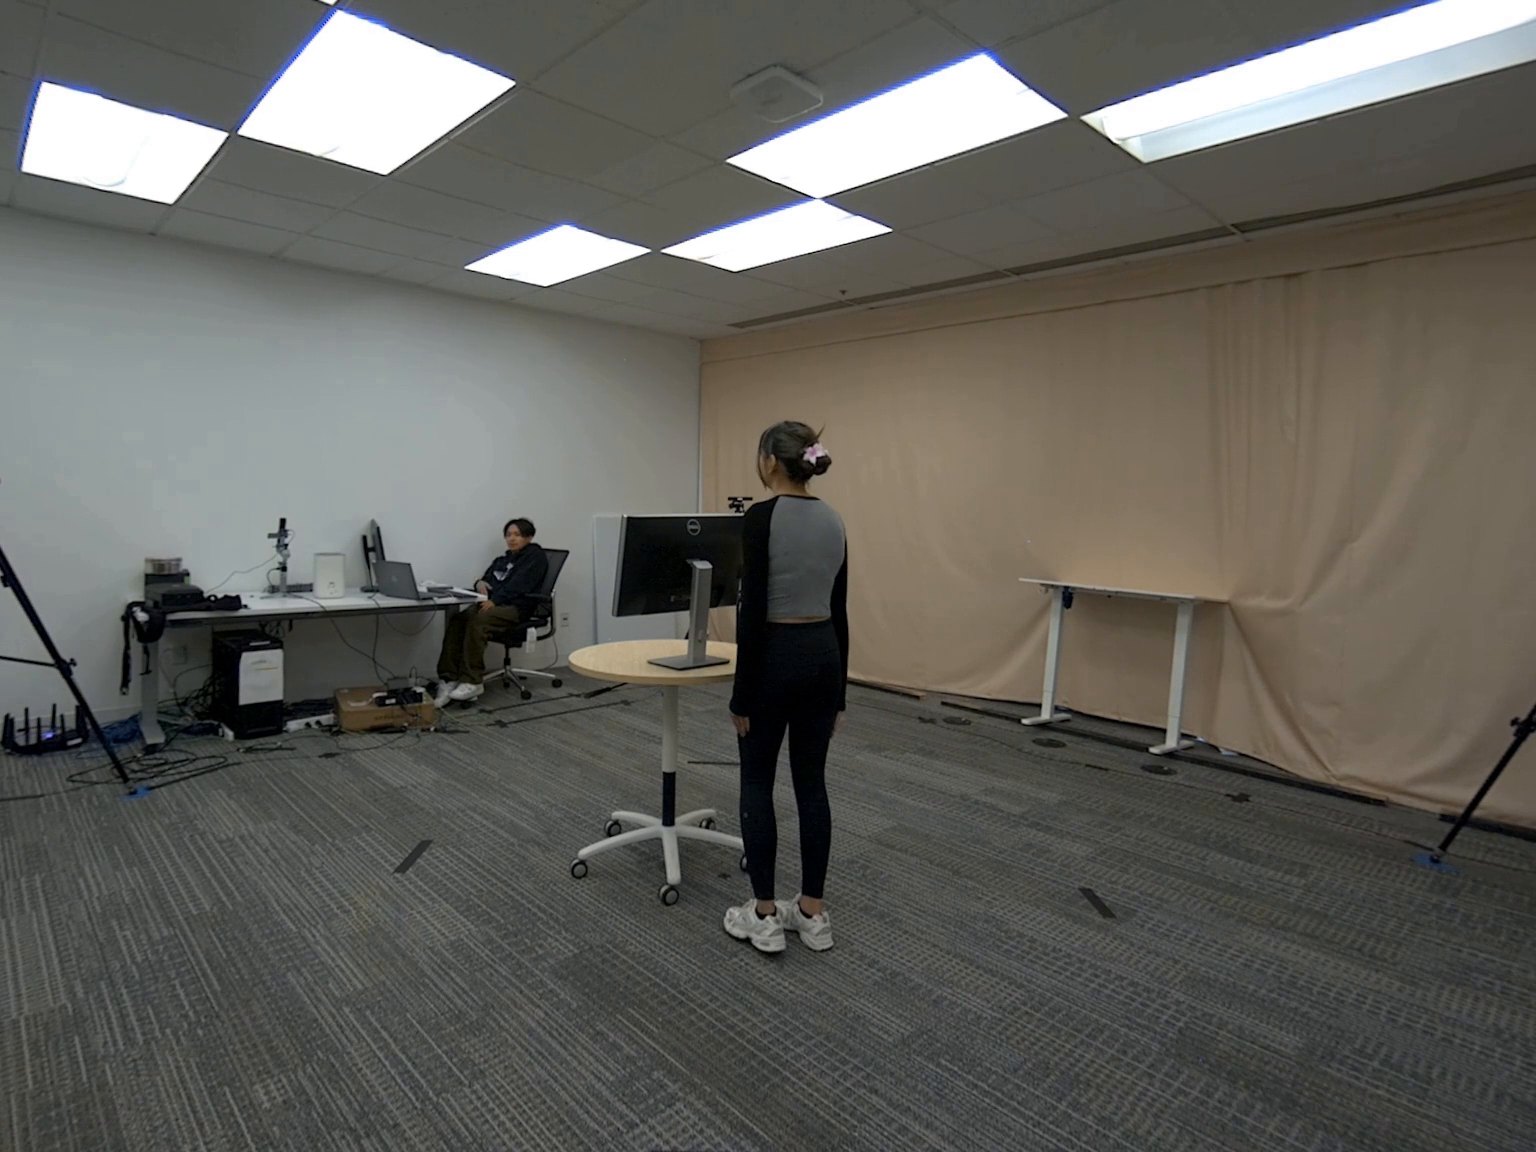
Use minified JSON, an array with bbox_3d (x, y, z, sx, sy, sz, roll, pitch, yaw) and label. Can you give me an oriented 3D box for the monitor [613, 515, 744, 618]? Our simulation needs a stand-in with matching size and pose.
[{"bbox_3d":[-0.290,0.053,3.042,0.527,0.522,0.191,-3,3,-43],"label":"monitor"}]
